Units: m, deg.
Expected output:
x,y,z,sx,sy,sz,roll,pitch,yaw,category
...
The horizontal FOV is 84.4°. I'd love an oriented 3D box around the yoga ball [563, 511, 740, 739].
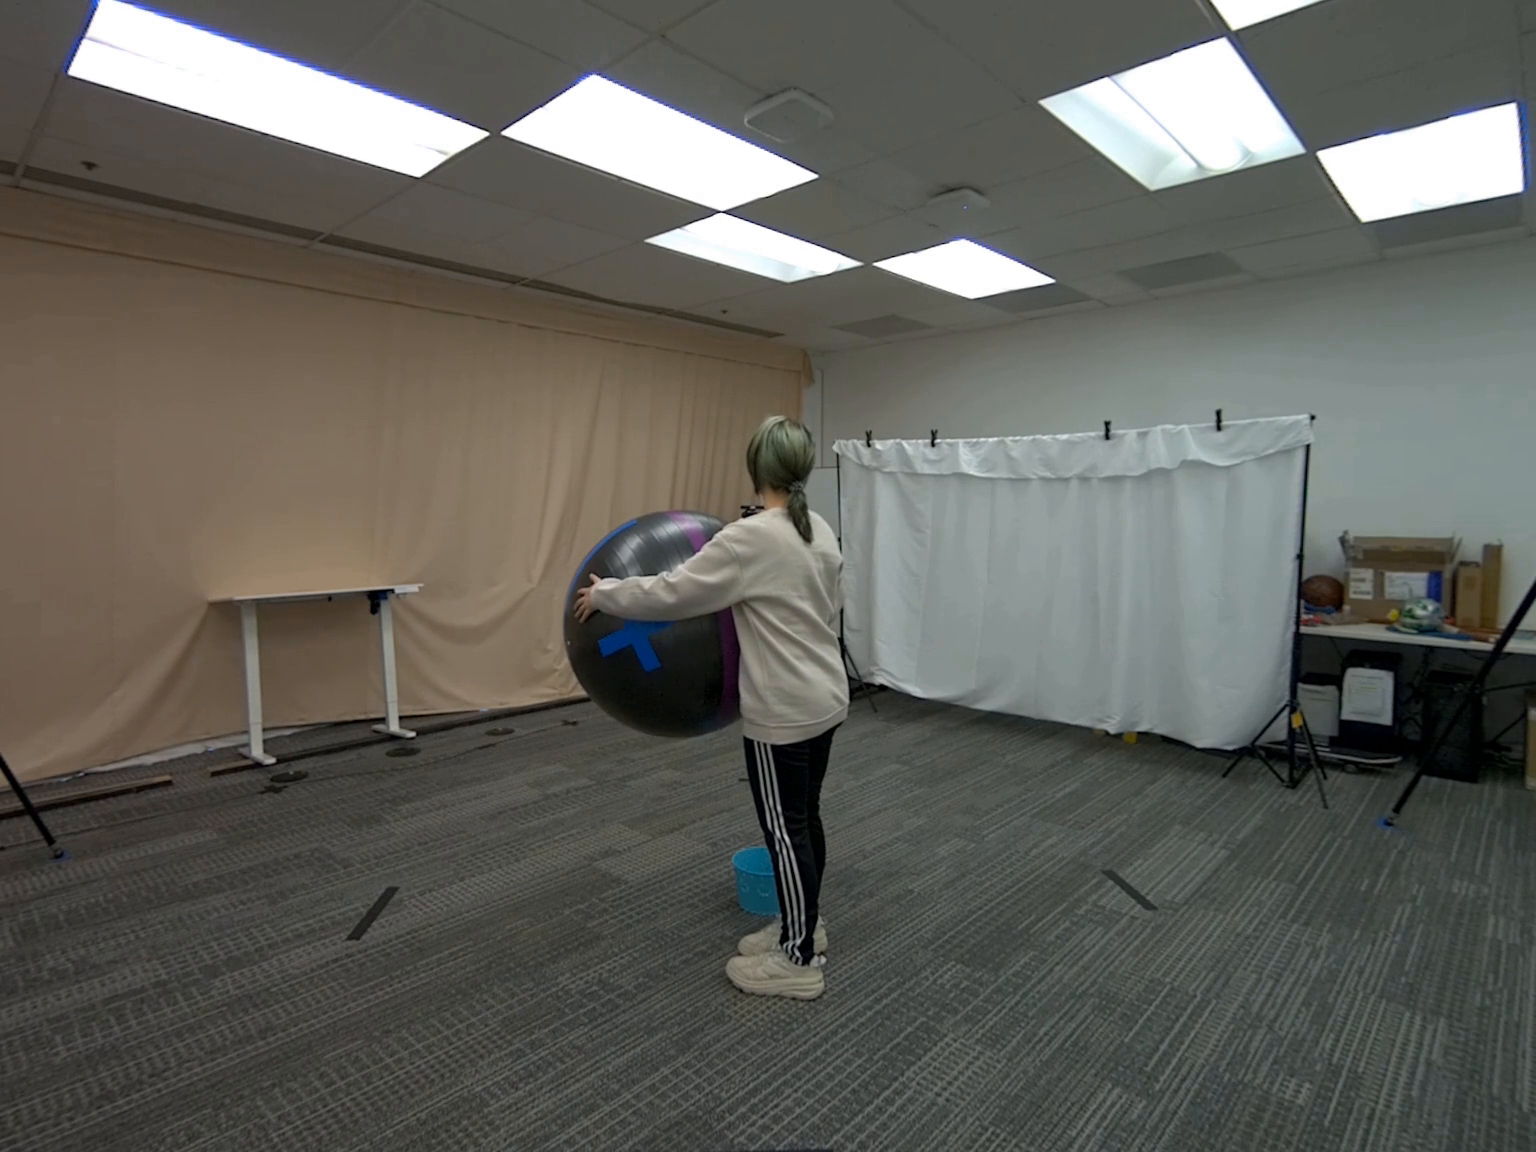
x,y,z,sx,sy,sz,roll,pitch,yaw,category
-0.300,0.162,2.827,0.757,0.756,0.760,0,4,-2,yoga ball
